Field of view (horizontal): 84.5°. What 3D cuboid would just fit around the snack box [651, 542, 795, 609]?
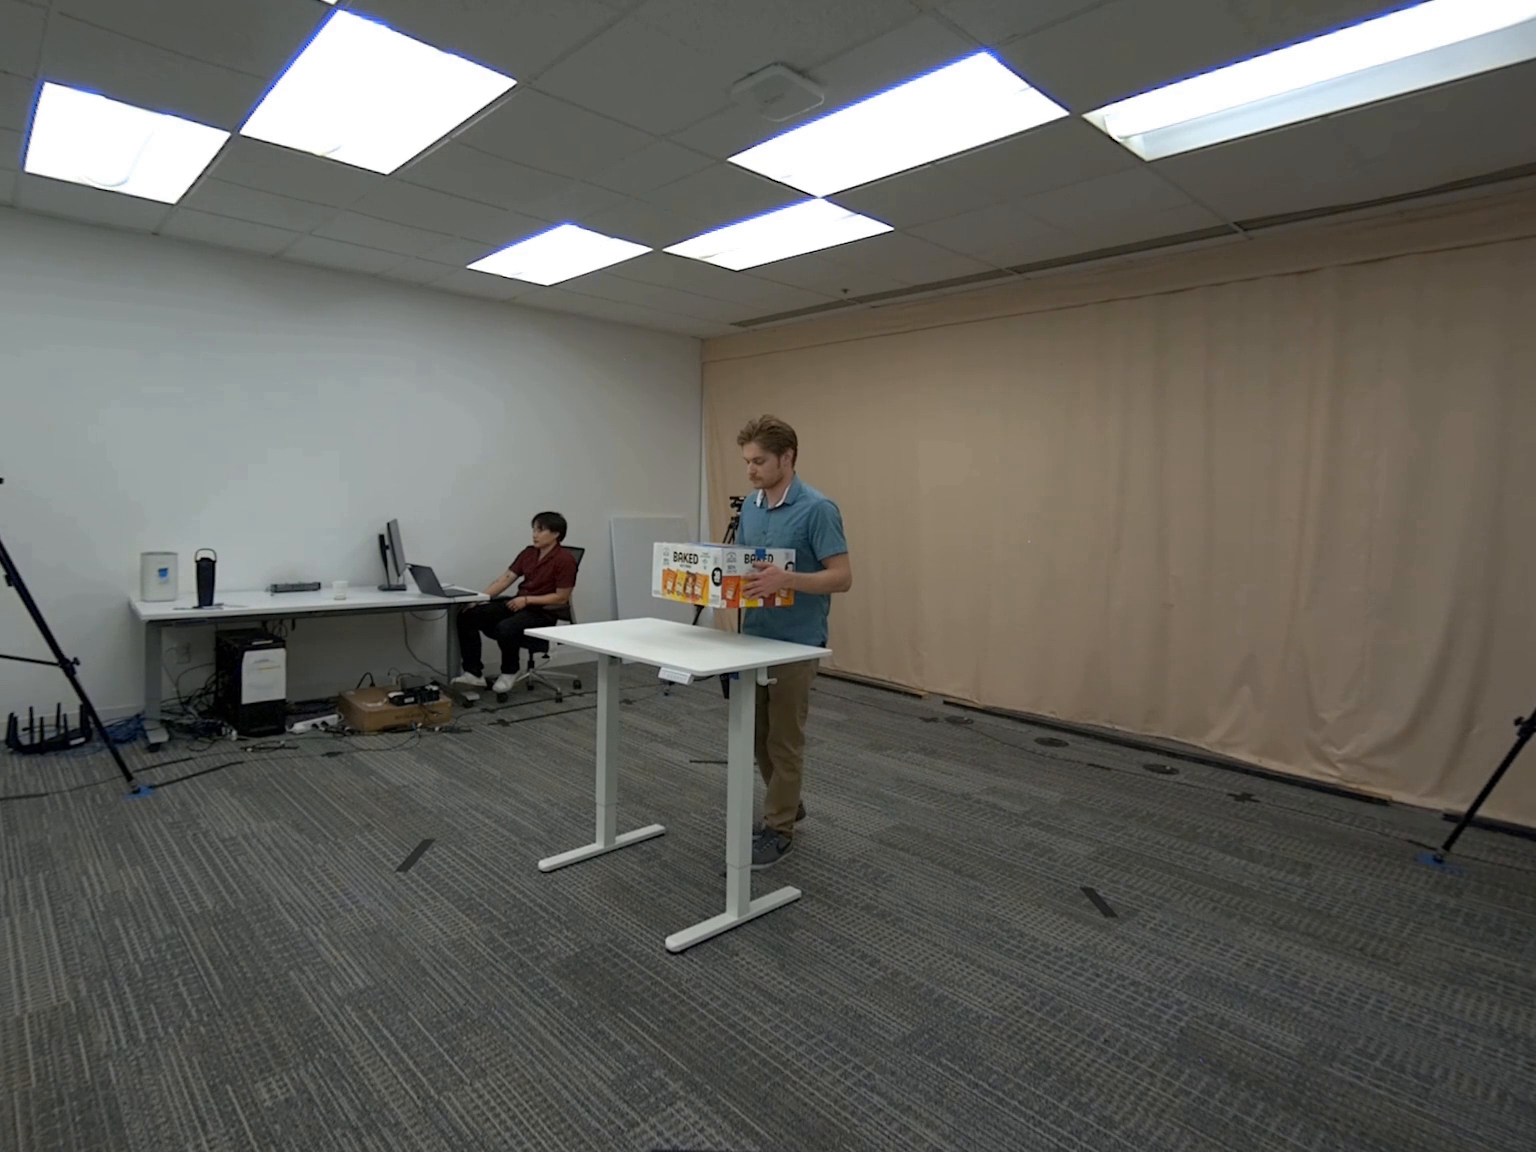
[{"bbox_3d":[-0.173,-0.008,3.074,0.332,0.205,0.415,0,4,-42],"label":"snack box"}]
